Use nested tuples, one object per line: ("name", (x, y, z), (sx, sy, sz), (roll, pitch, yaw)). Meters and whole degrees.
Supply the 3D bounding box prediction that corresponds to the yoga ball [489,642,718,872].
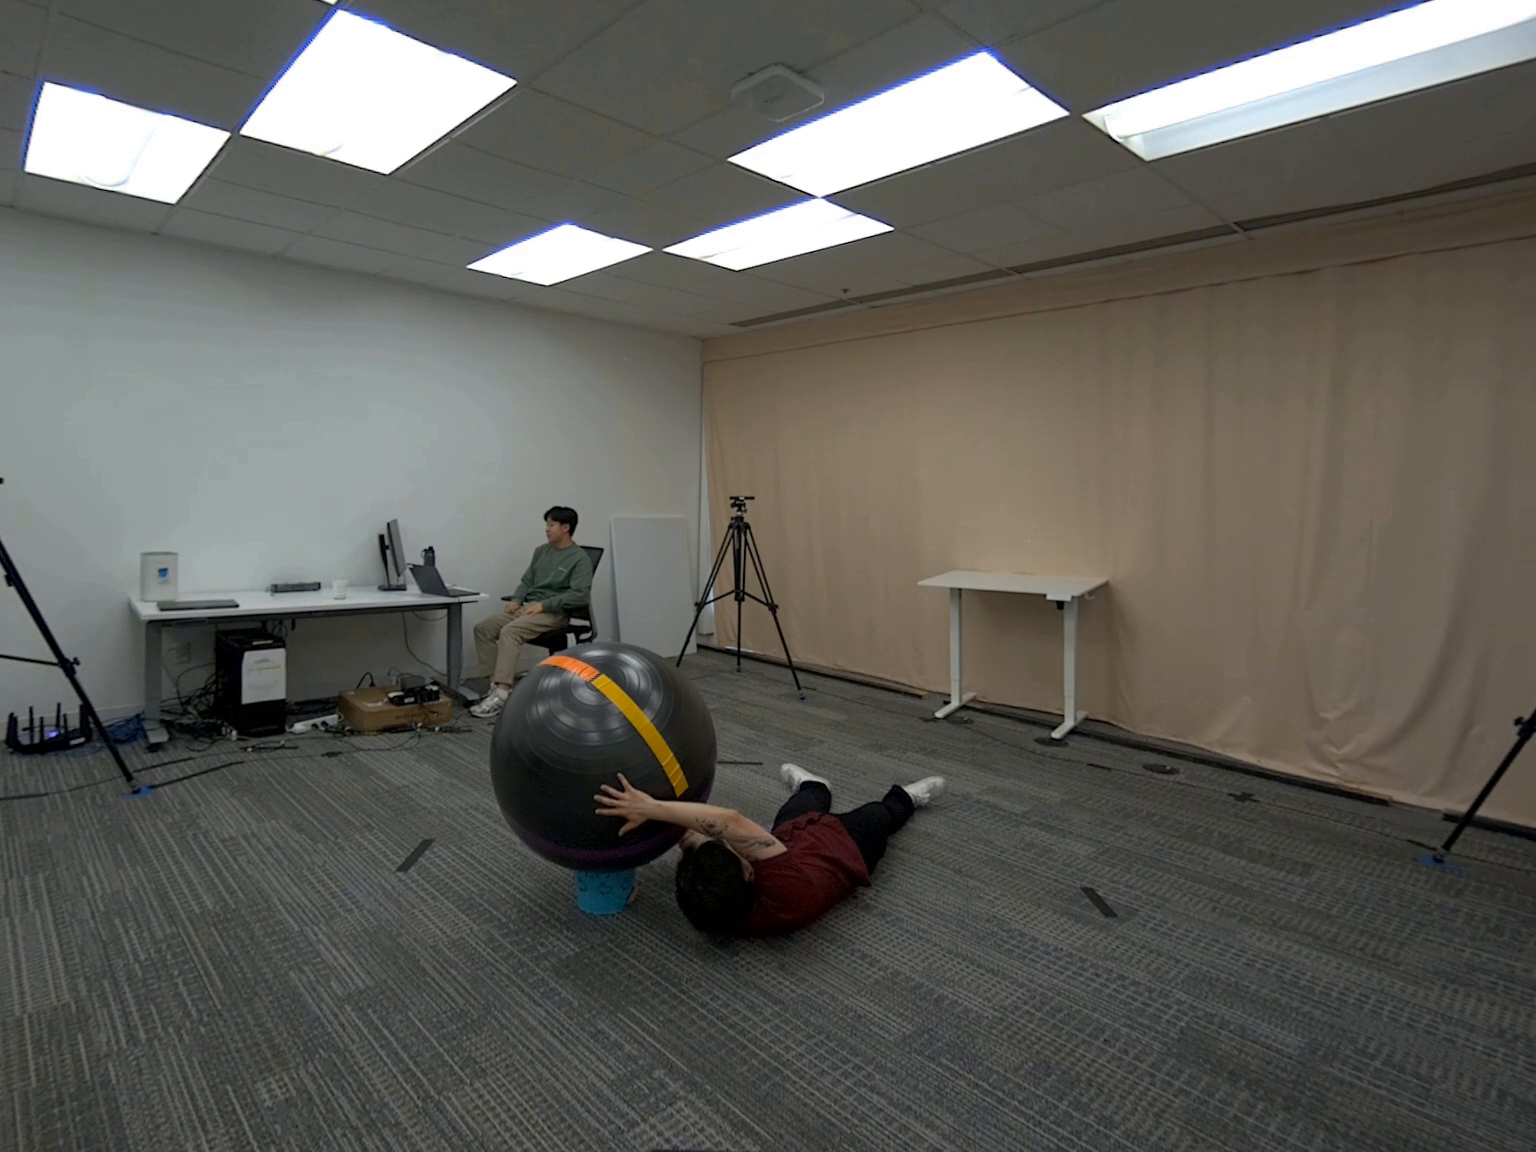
("yoga ball", (-0.559, 0.607, 2.861), (0.757, 0.756, 0.761), (1, 4, -1))
